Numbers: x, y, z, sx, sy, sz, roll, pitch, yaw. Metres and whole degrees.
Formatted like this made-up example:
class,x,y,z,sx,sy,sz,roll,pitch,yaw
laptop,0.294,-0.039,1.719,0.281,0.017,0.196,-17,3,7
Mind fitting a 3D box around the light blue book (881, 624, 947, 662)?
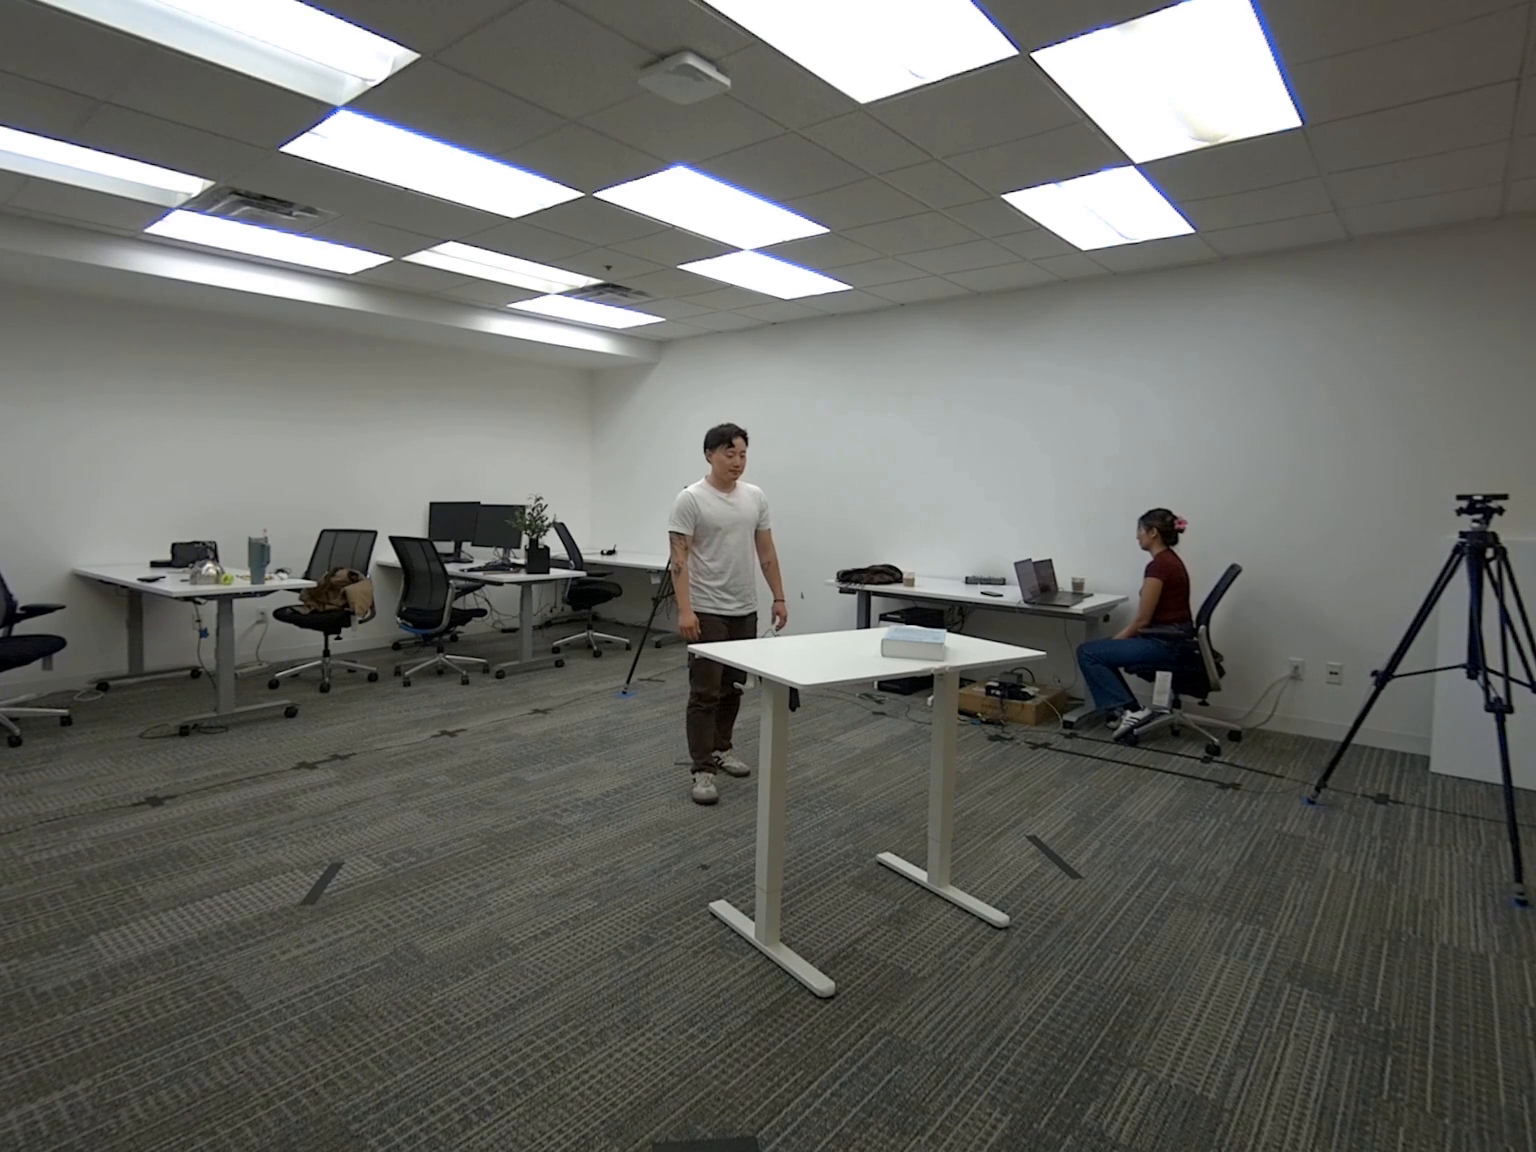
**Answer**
class,x,y,z,sx,sy,sz,roll,pitch,yaw
light blue book,0.475,0.211,2.710,0.194,0.059,0.258,2,6,12
